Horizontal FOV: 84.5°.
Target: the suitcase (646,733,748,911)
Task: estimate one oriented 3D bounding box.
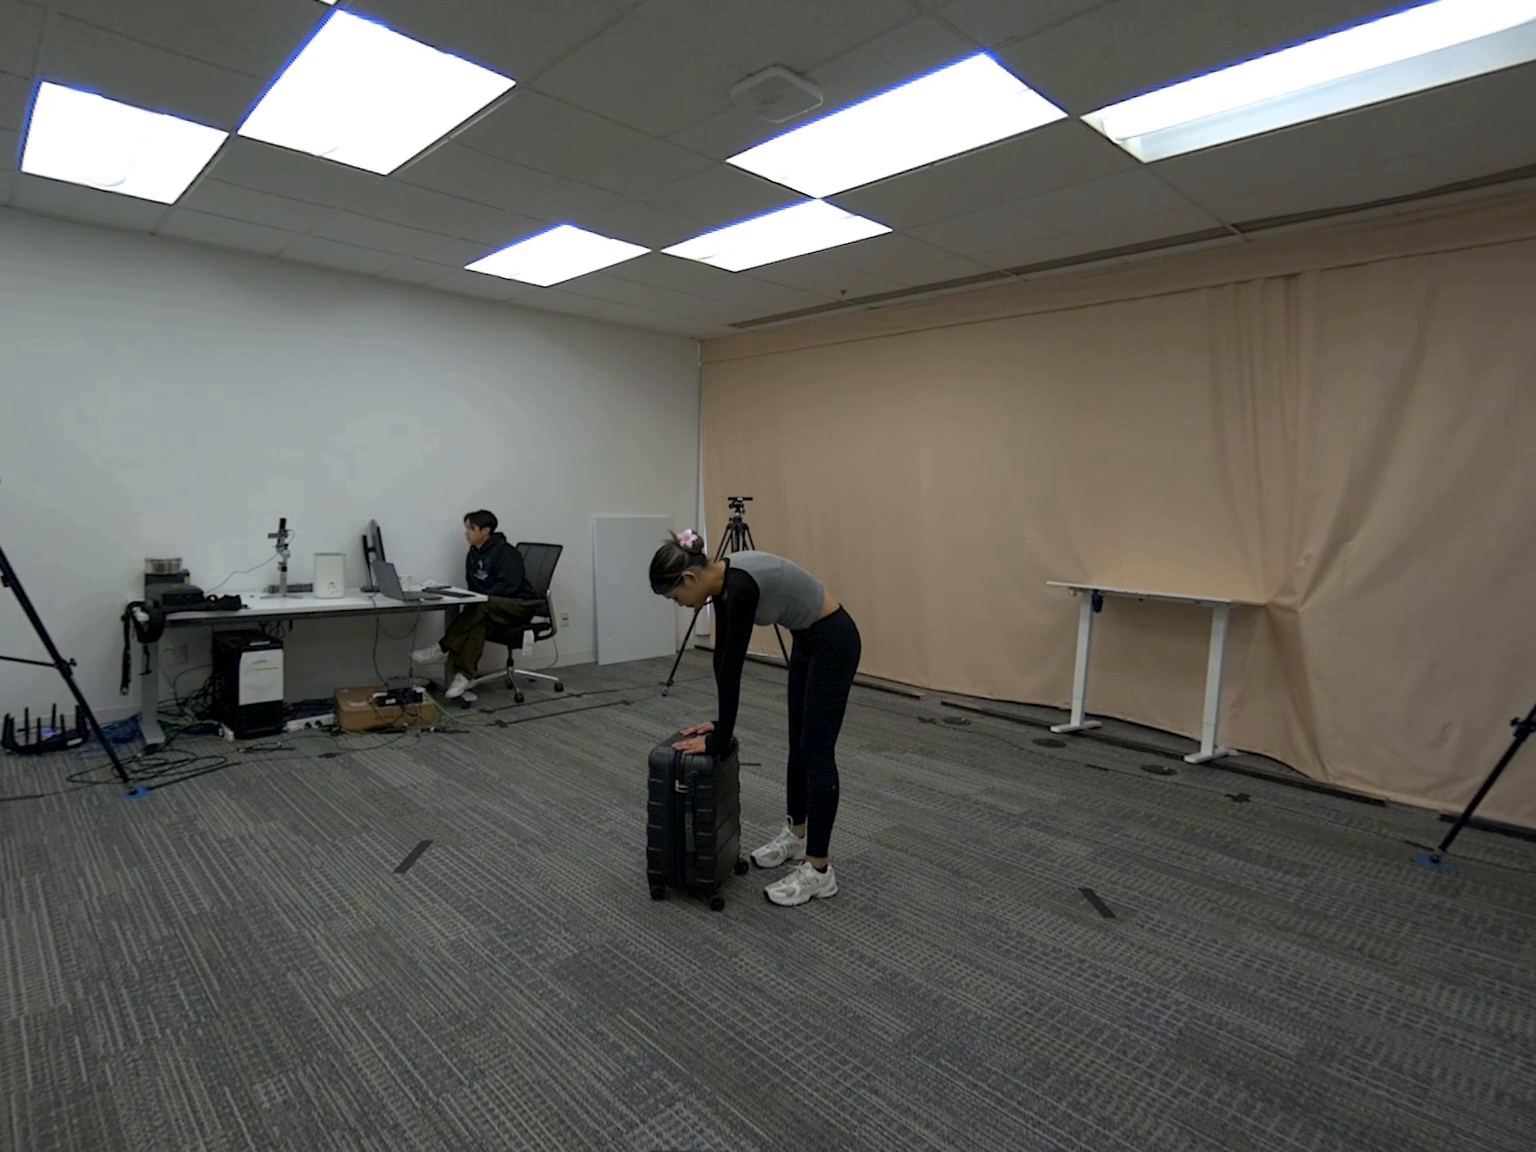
[{"bbox_3d":[-0.261,0.841,3.005,0.252,0.548,0.371,1,4,18],"label":"suitcase"}]
